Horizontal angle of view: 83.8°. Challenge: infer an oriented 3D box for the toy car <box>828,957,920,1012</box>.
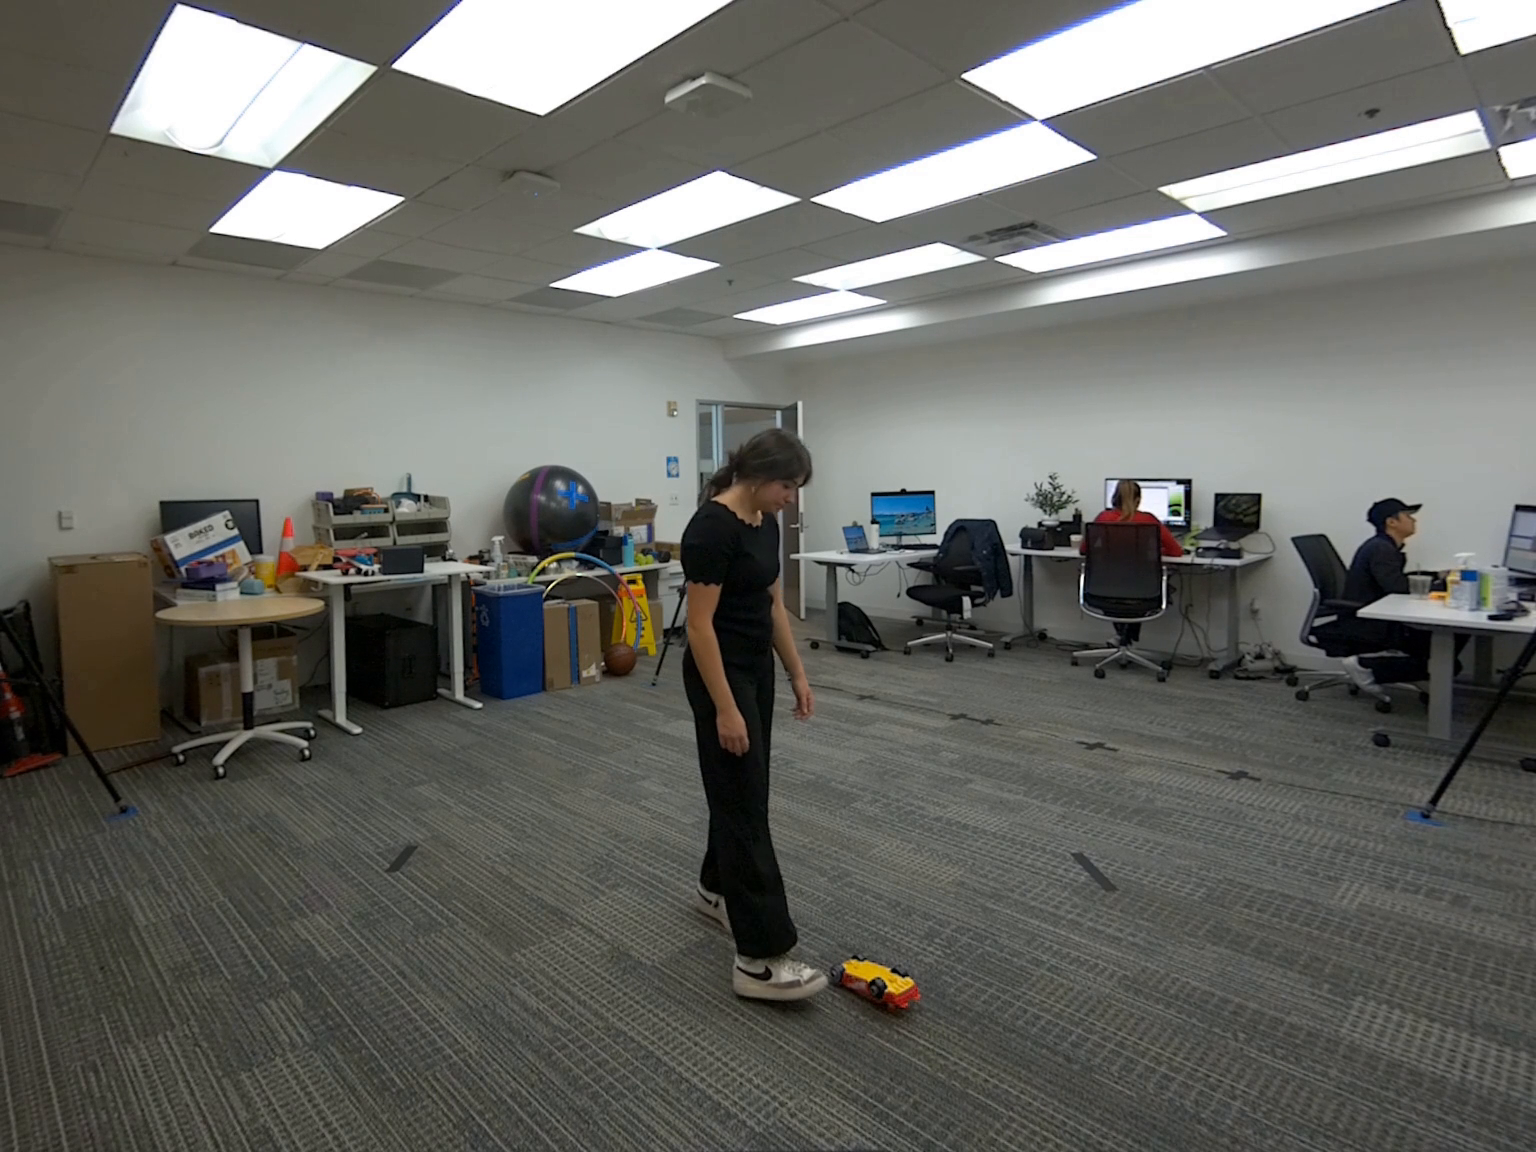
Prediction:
[{"bbox_3d":[0.295,1.091,2.302,0.127,0.083,0.262,-5,8,-40],"label":"toy car"}]
